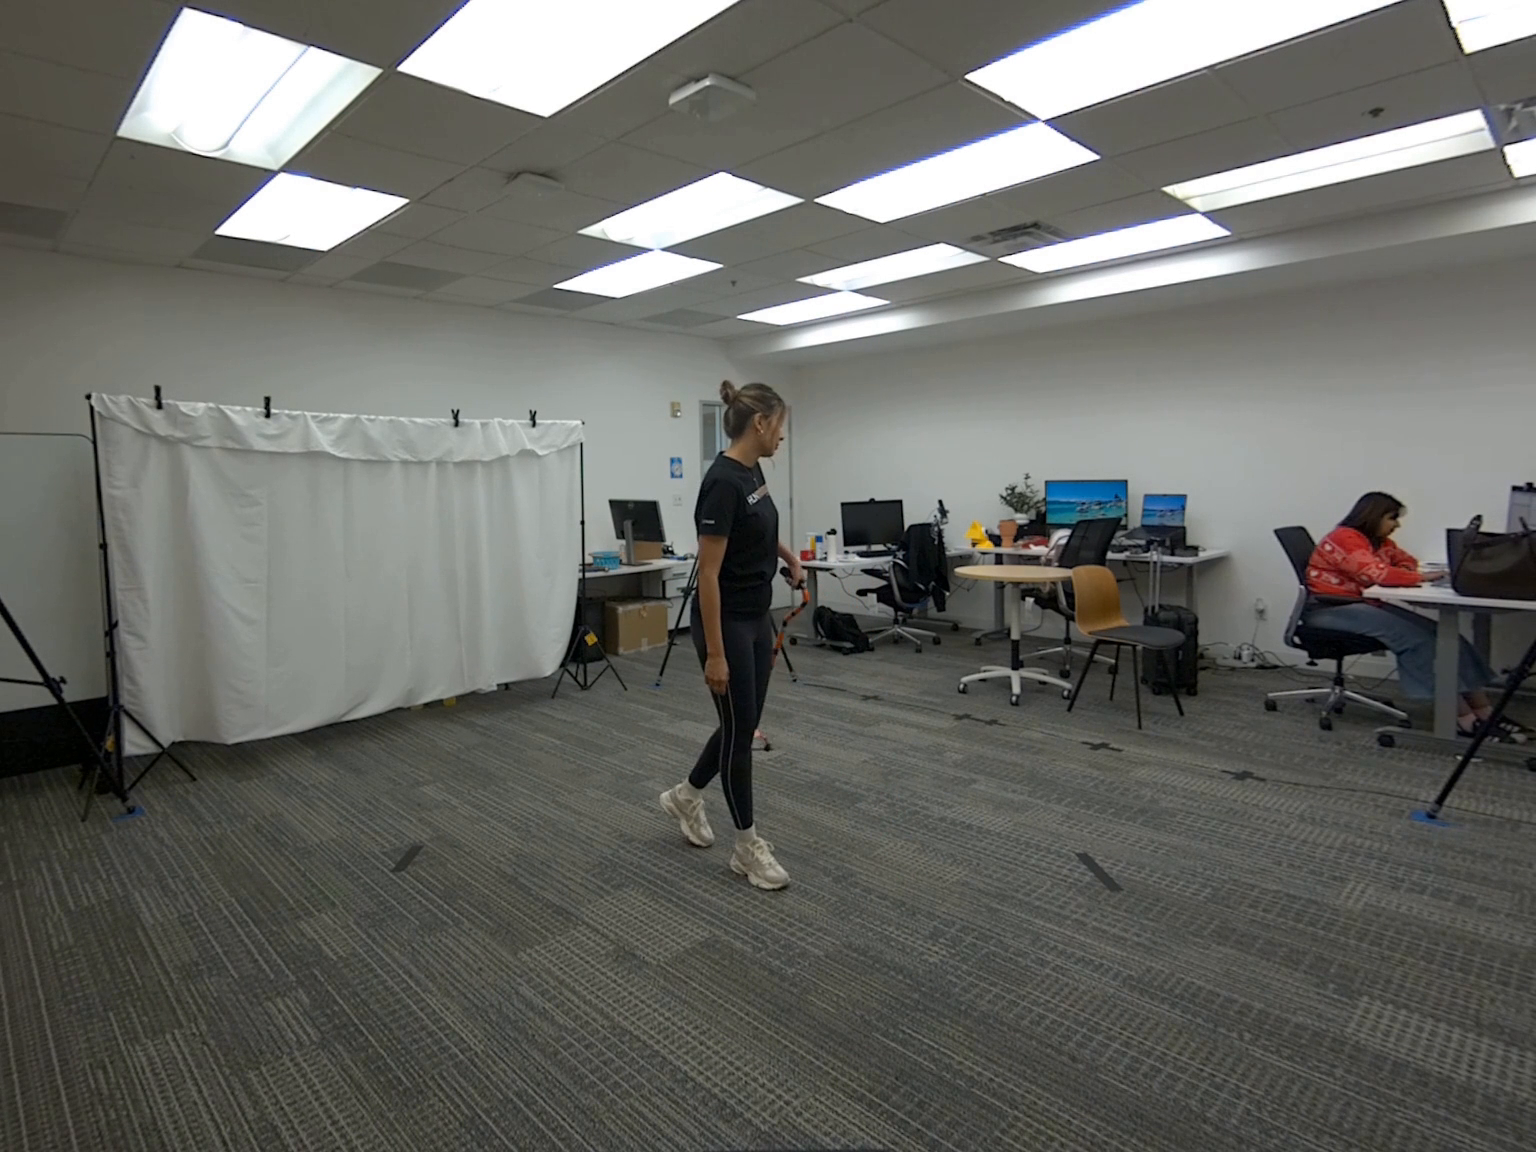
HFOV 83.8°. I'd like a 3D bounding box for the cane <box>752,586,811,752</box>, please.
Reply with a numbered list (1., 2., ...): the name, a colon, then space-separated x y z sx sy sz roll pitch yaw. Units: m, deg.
1. cane: 0.009 0.388 3.564 0.149 0.892 0.214 -18 45 -41
